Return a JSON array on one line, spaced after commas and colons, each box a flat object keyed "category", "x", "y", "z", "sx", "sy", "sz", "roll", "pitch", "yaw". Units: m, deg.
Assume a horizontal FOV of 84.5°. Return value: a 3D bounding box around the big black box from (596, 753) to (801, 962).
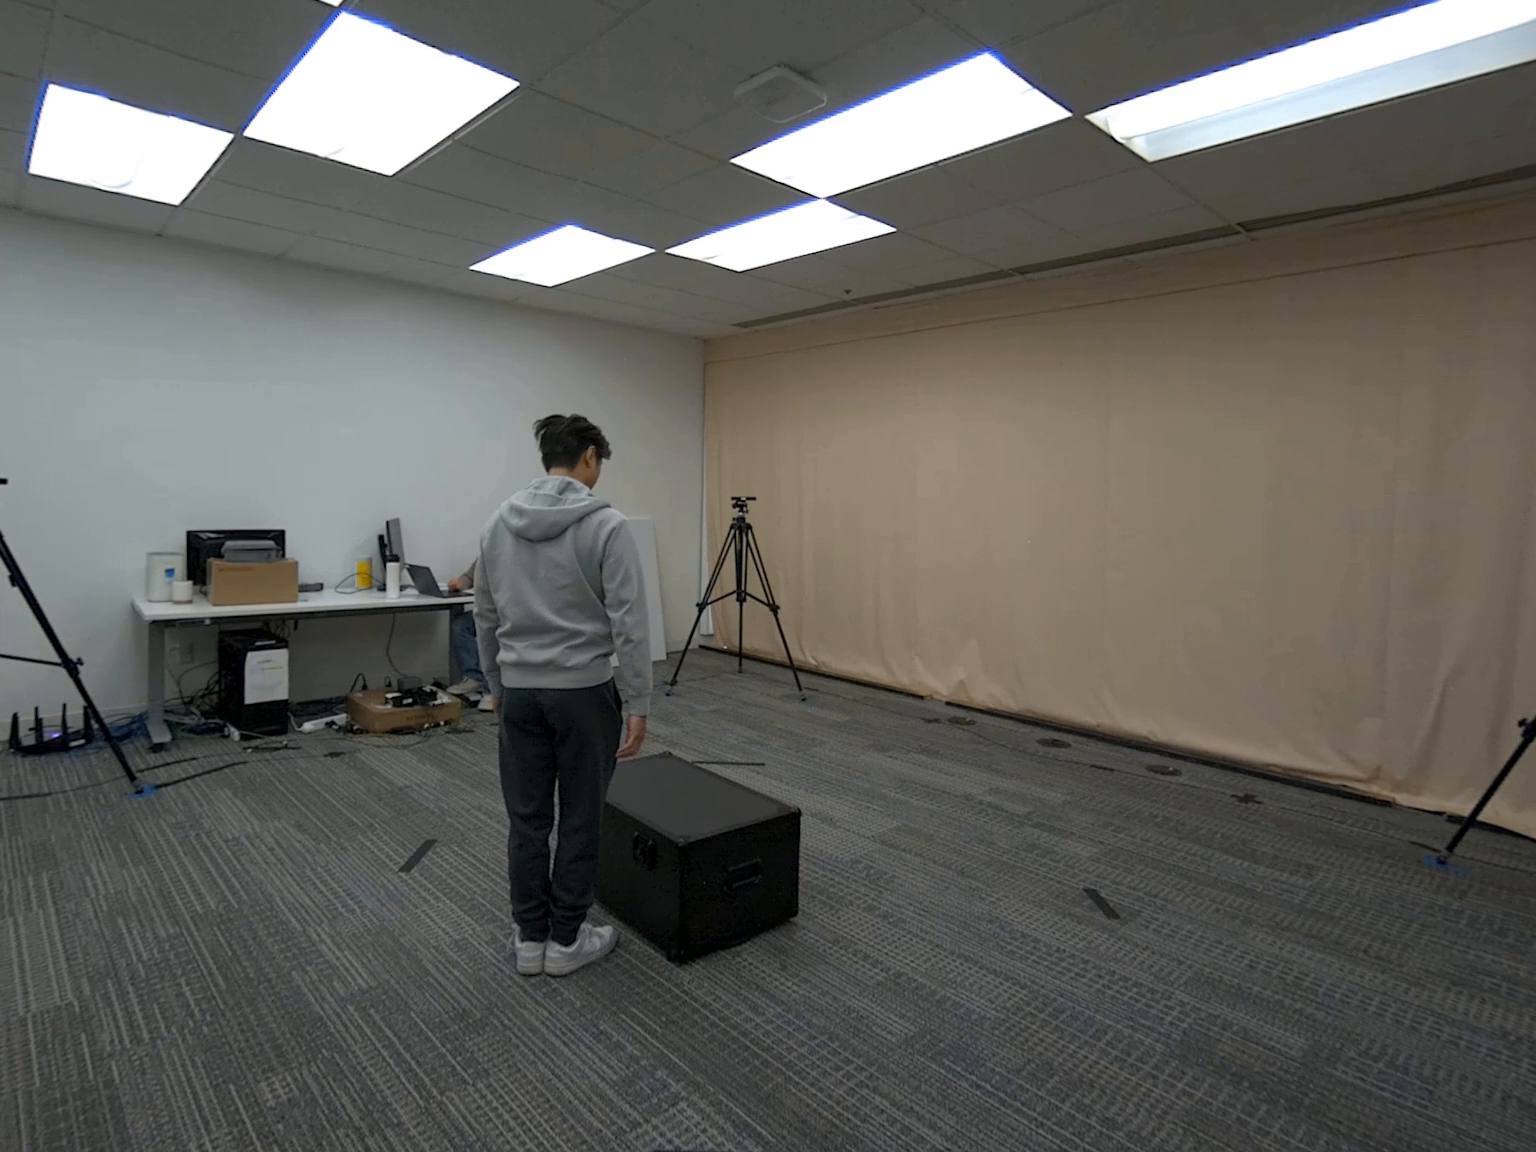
[{"category": "big black box", "x": -0.354, "y": 0.928, "z": 2.941, "sx": 0.509, "sy": 0.395, "sz": 0.884, "roll": -2, "pitch": 6, "yaw": -40}]
